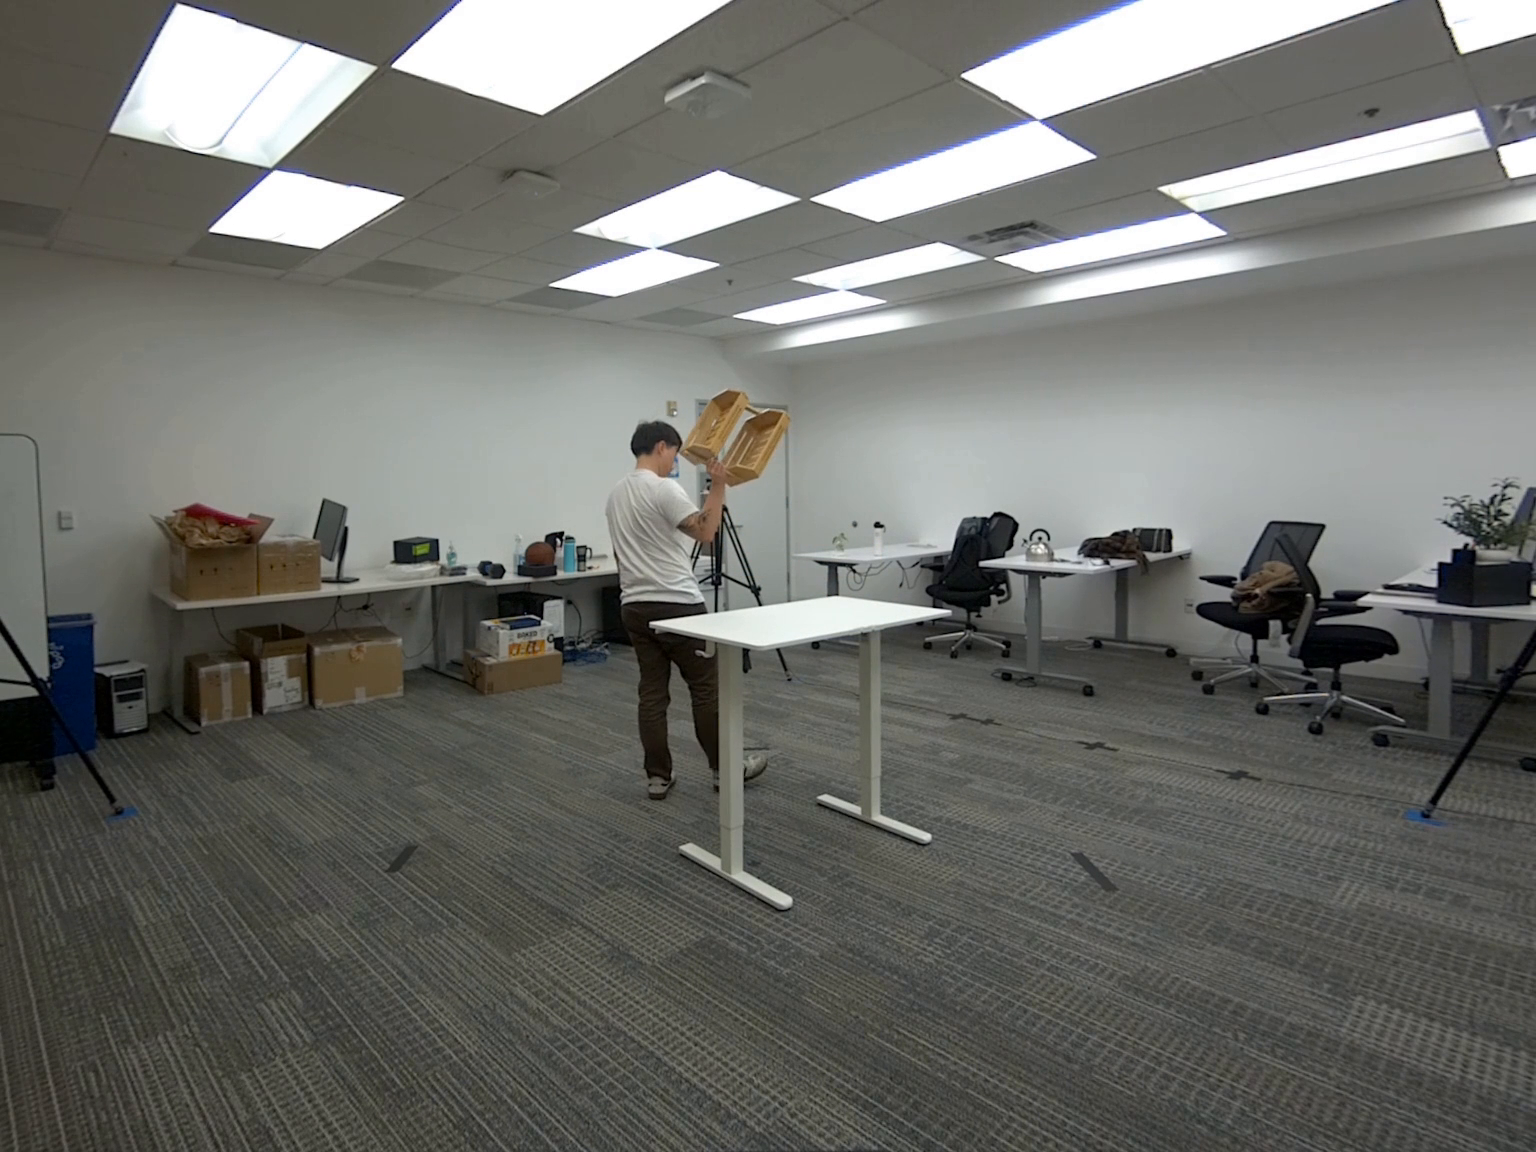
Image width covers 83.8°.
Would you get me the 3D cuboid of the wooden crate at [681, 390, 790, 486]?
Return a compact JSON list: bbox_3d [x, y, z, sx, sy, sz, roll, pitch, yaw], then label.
[{"bbox_3d":[-0.130,-0.577,3.503,0.266,0.326,0.308,38,-24,-22],"label":"wooden crate"}]
